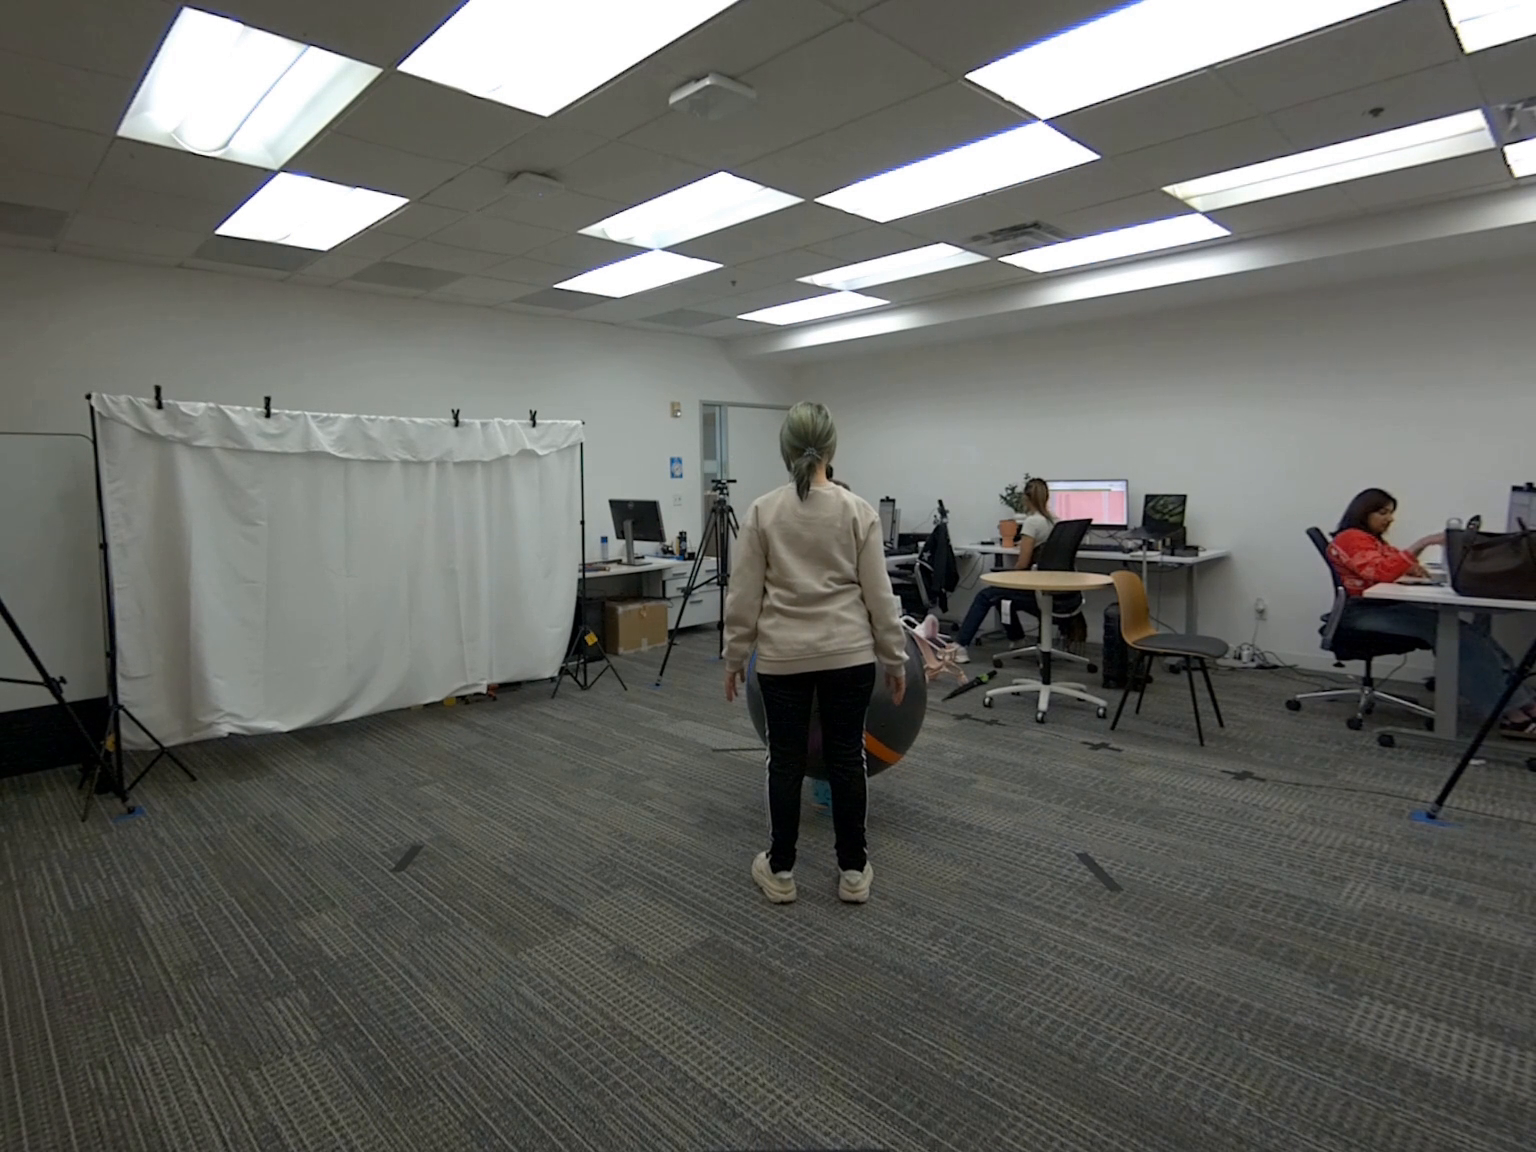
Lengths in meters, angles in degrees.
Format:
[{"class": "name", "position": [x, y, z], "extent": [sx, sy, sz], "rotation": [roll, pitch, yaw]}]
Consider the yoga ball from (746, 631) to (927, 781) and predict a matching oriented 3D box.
[{"class": "yoga ball", "position": [0.286, 0.476, 3.597], "extent": [0.757, 0.755, 0.762], "rotation": [-1, 5, -2]}]
